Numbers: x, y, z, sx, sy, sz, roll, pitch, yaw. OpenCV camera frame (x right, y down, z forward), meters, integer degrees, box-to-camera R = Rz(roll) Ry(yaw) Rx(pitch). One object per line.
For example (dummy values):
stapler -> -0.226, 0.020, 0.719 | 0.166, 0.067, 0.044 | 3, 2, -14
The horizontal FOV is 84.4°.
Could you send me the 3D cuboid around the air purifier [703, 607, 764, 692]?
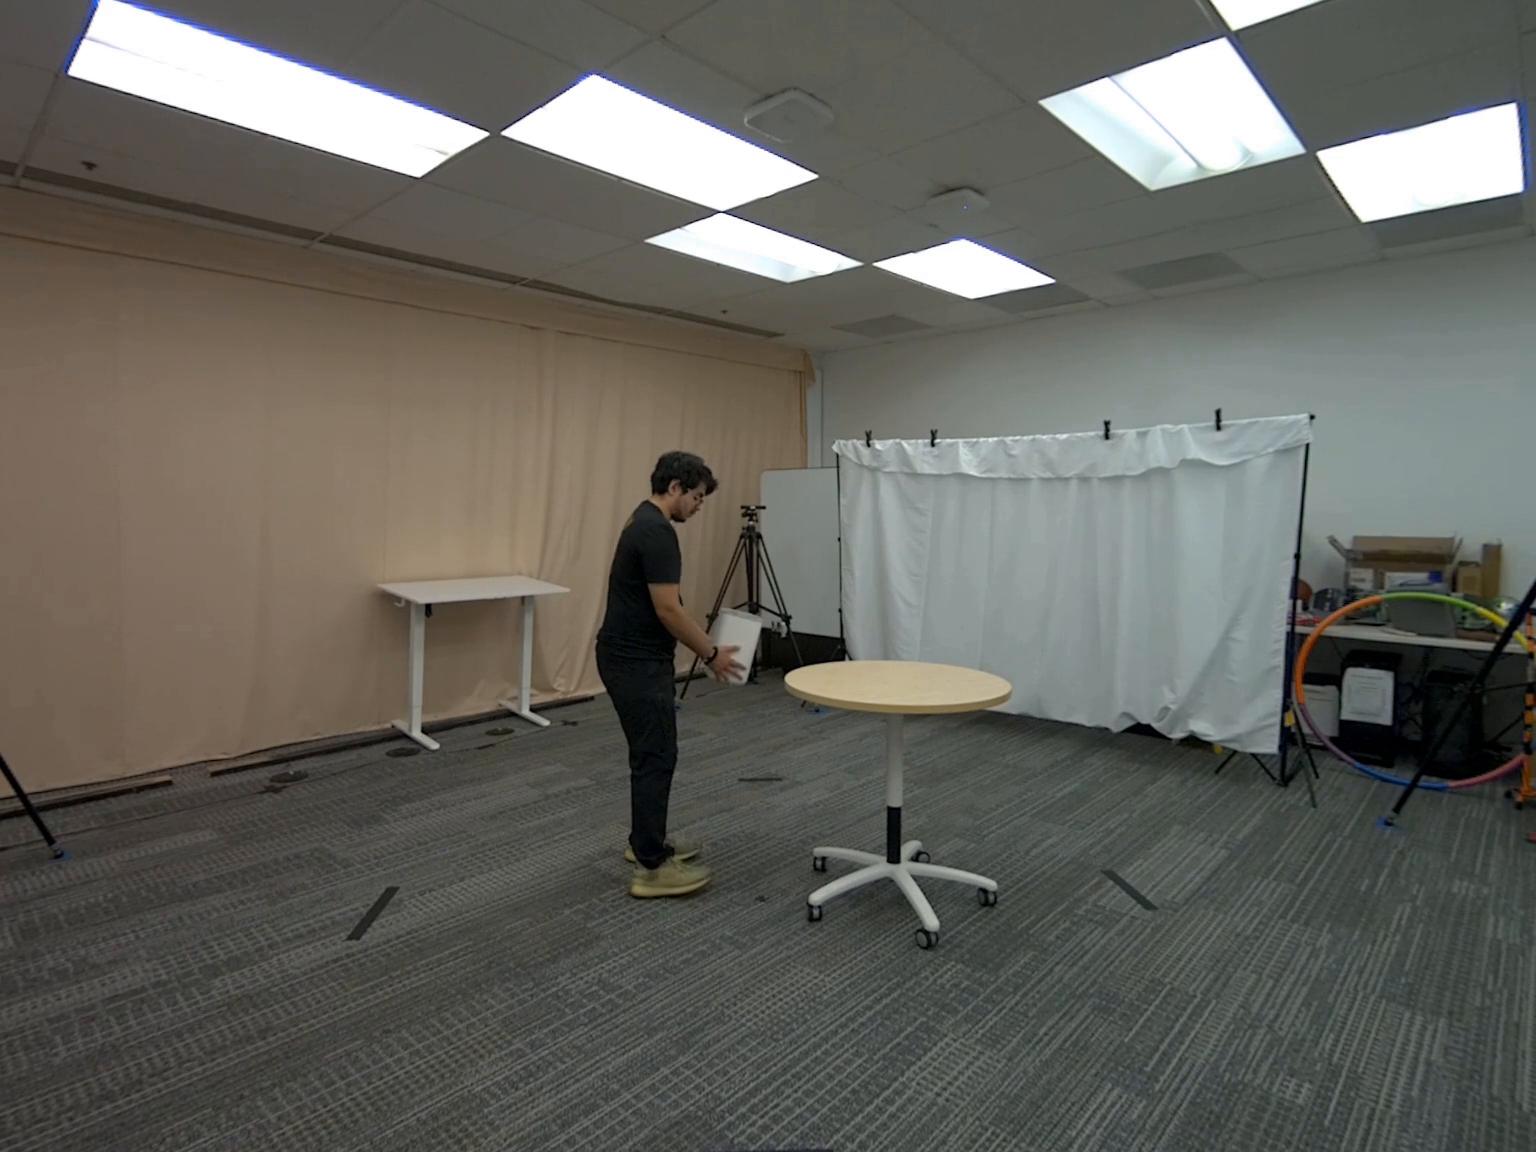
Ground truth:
air purifier -> -0.138, 0.277, 3.256 | 0.171, 0.265, 0.172 | 13, 3, -3
